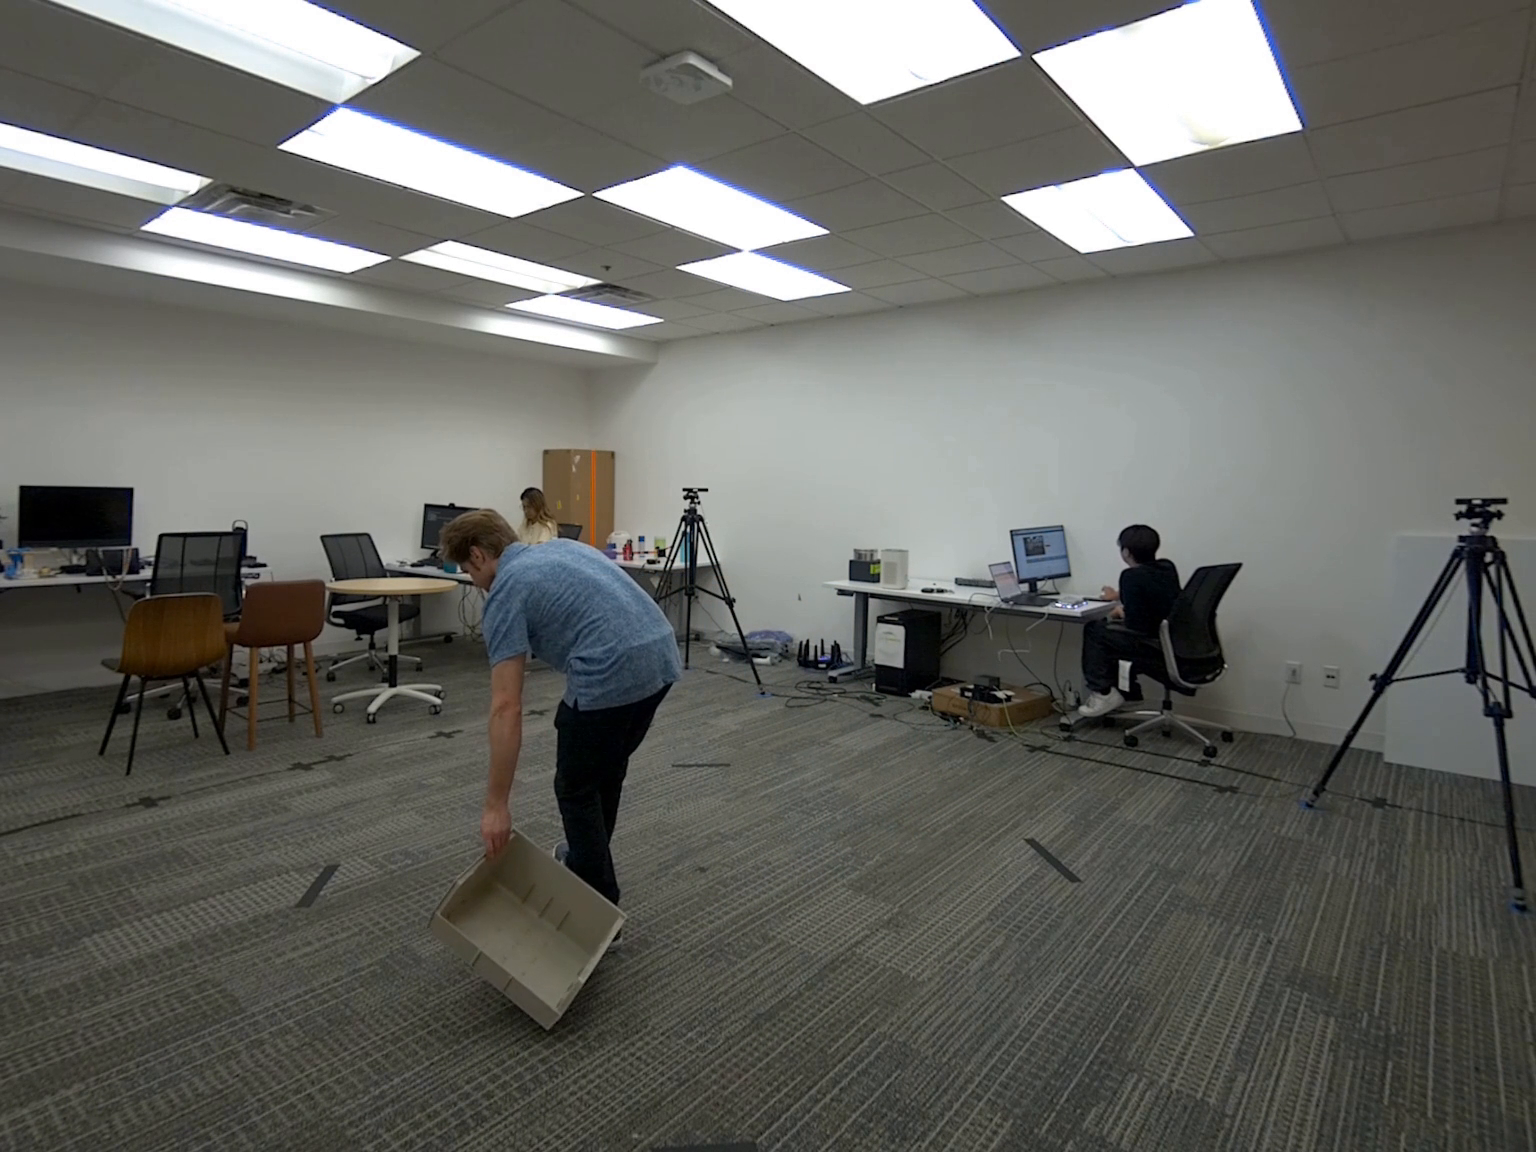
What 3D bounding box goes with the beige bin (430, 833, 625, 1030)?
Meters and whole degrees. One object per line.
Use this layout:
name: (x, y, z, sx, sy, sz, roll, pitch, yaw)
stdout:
beige bin: (-0.665, 0.957, 2.313, 0.427, 0.188, 0.374, 33, 9, 7)
